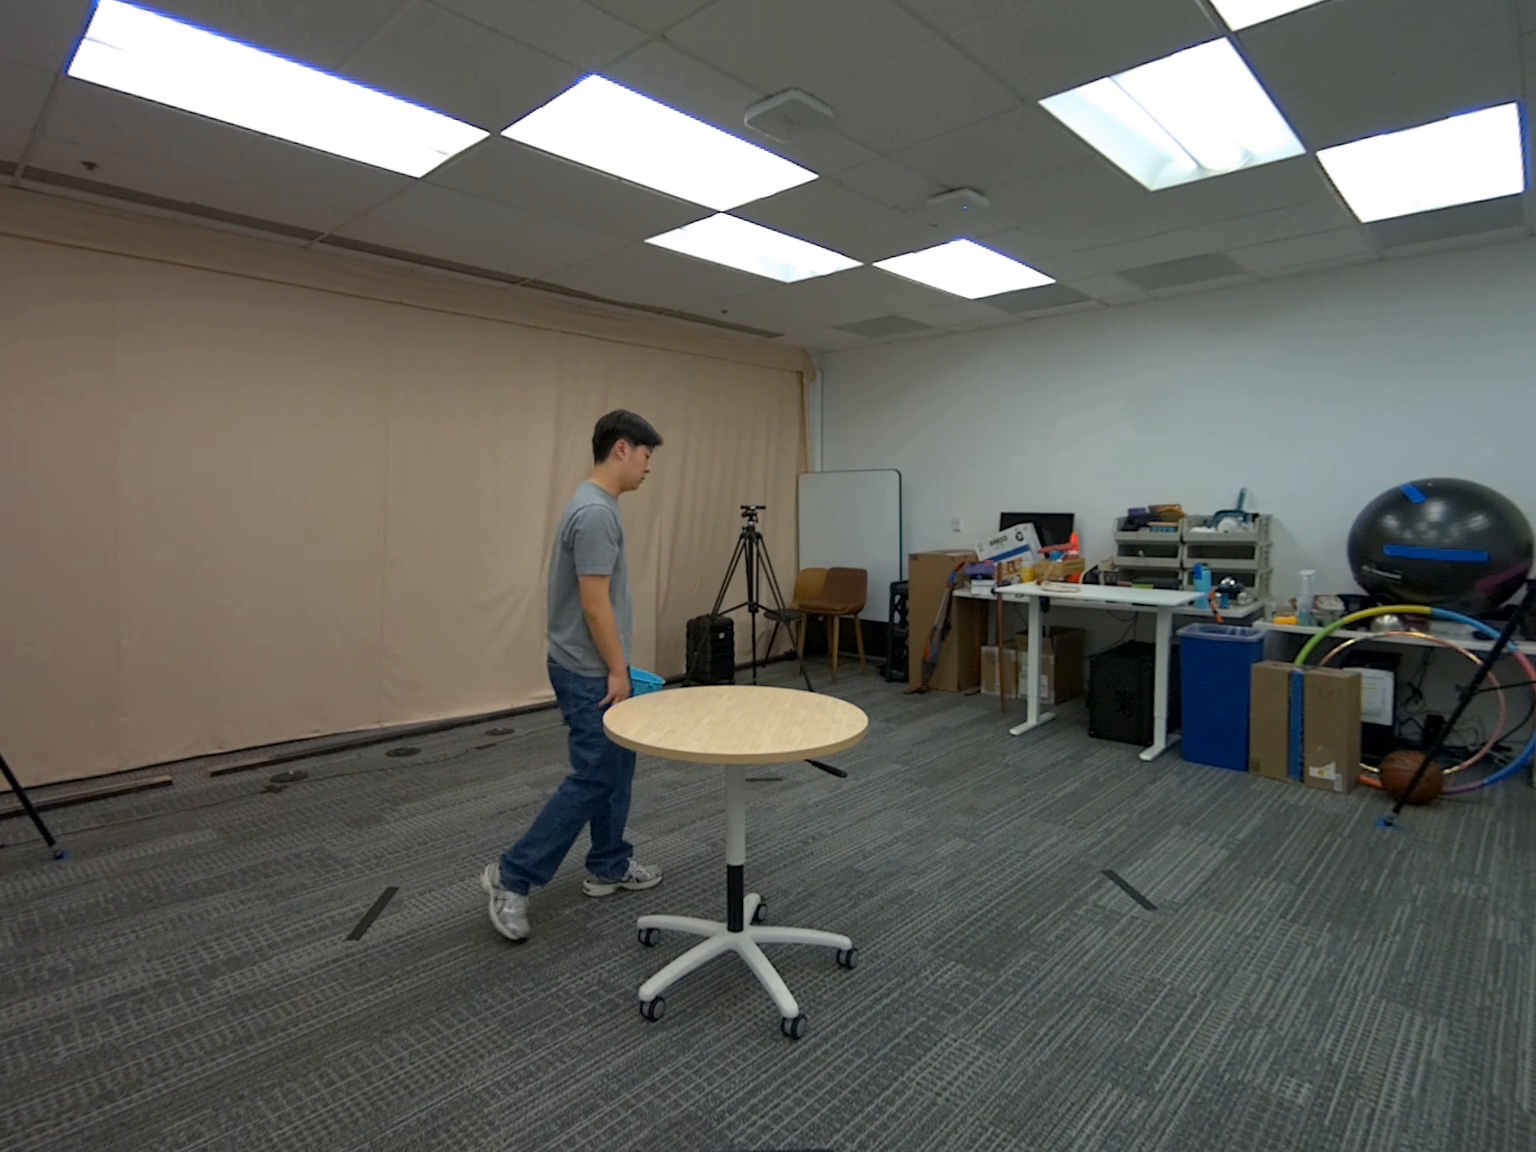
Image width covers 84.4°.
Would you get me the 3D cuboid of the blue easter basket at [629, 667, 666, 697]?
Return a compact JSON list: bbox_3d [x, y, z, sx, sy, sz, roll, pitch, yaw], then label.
[{"bbox_3d":[-0.517,0.448,3.279,0.243,0.156,0.244,14,1,-2],"label":"blue easter basket"}]
